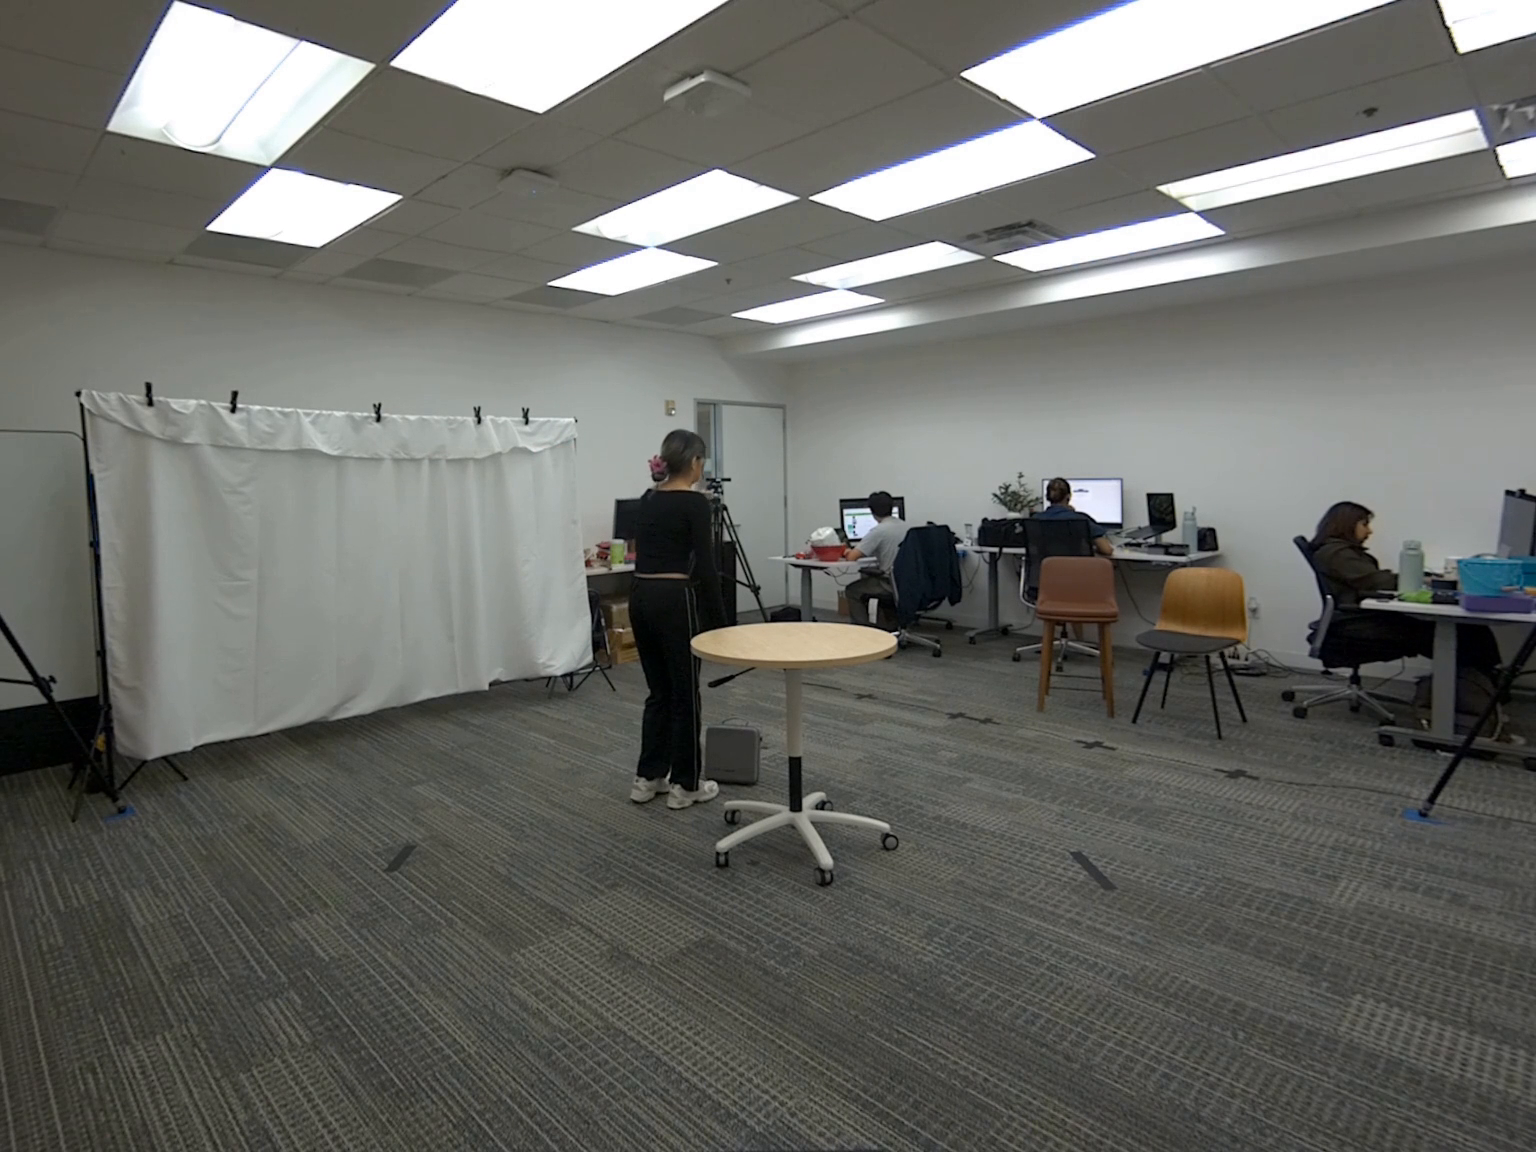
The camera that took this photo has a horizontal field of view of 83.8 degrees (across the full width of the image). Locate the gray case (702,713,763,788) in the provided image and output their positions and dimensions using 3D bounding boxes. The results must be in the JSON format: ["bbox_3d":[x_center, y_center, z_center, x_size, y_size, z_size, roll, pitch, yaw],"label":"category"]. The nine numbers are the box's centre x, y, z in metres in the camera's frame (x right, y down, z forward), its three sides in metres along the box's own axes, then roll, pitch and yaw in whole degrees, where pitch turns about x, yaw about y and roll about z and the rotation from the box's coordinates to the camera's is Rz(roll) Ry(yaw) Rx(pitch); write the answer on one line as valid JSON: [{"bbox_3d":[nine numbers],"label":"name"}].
[{"bbox_3d":[-0.164,0.817,3.958,0.261,0.262,0.102,1,-7,16],"label":"gray case"}]
